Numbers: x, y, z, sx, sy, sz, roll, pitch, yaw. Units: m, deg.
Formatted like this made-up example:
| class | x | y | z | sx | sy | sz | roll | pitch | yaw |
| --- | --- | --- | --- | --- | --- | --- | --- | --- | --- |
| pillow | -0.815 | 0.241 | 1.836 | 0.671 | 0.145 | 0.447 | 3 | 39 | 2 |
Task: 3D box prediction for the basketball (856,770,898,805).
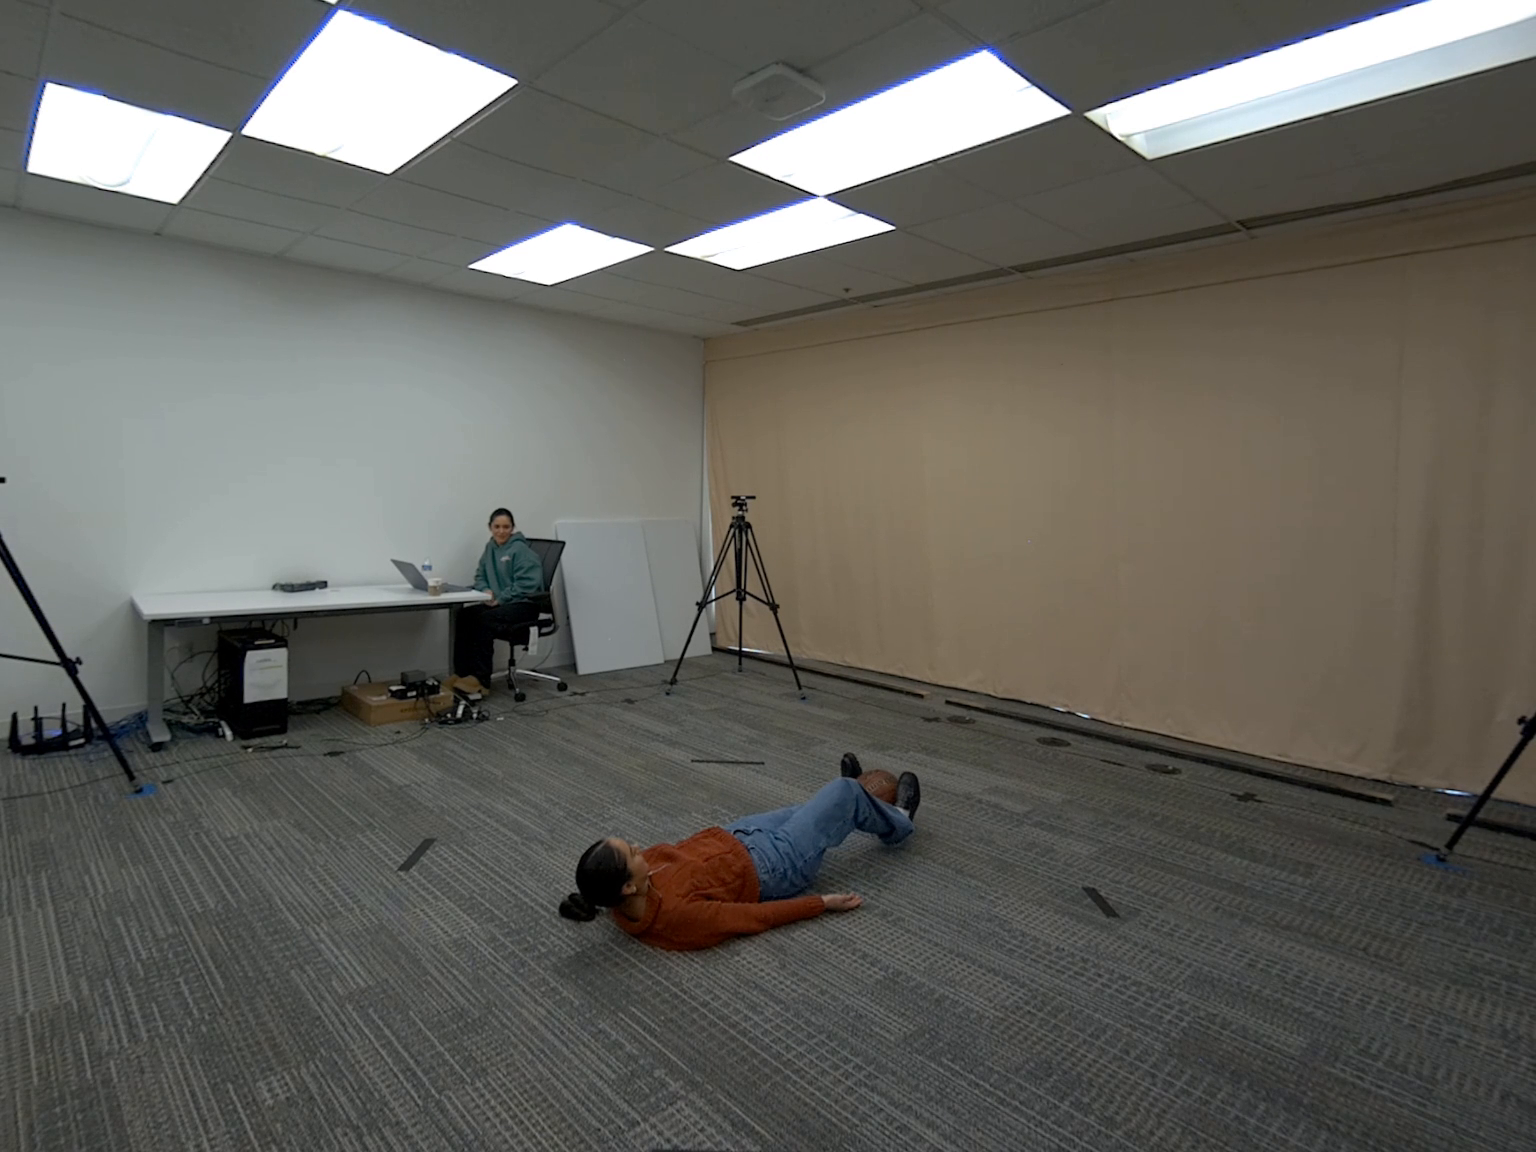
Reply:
| class | x | y | z | sx | sy | sz | roll | pitch | yaw |
| --- | --- | --- | --- | --- | --- | --- | --- | --- | --- |
| basketball | 0.471 | 0.950 | 3.612 | 0.236 | 0.235 | 0.237 | 1 | 4 | -1 |
